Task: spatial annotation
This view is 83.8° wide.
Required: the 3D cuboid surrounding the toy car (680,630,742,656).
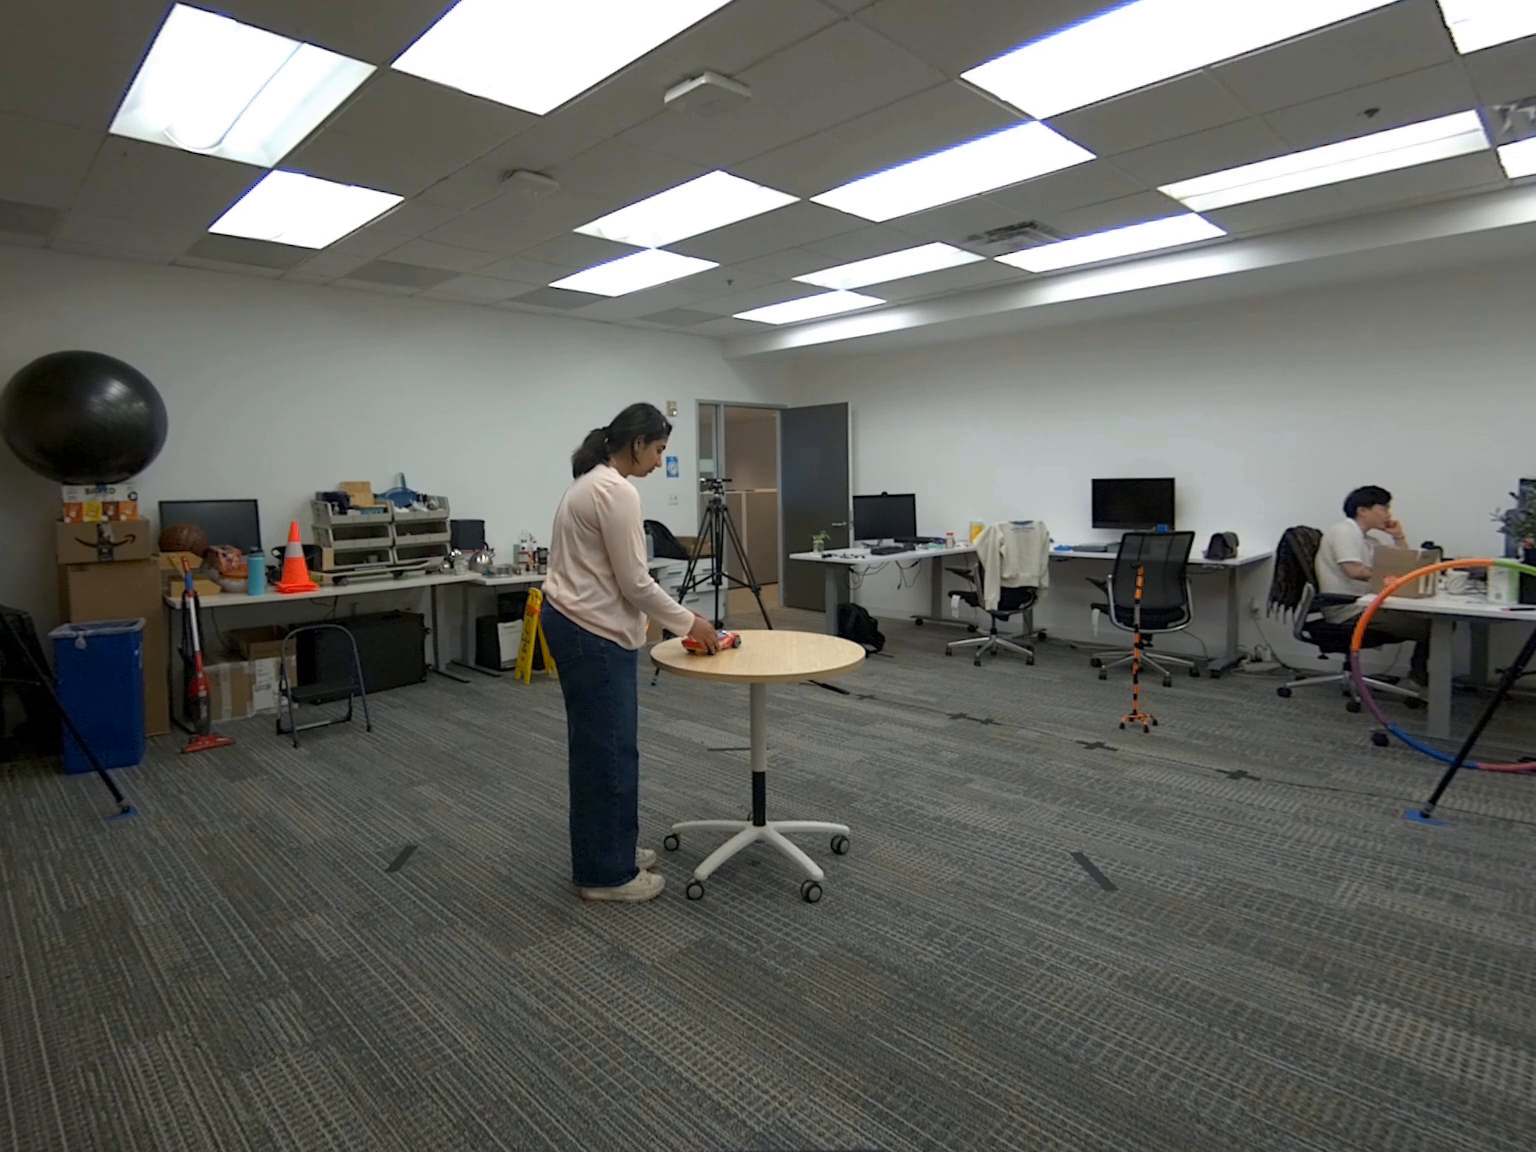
[{"bbox_3d":[-0.208,0.236,3.055,0.134,0.083,0.247,4,-2,35],"label":"toy car"}]
